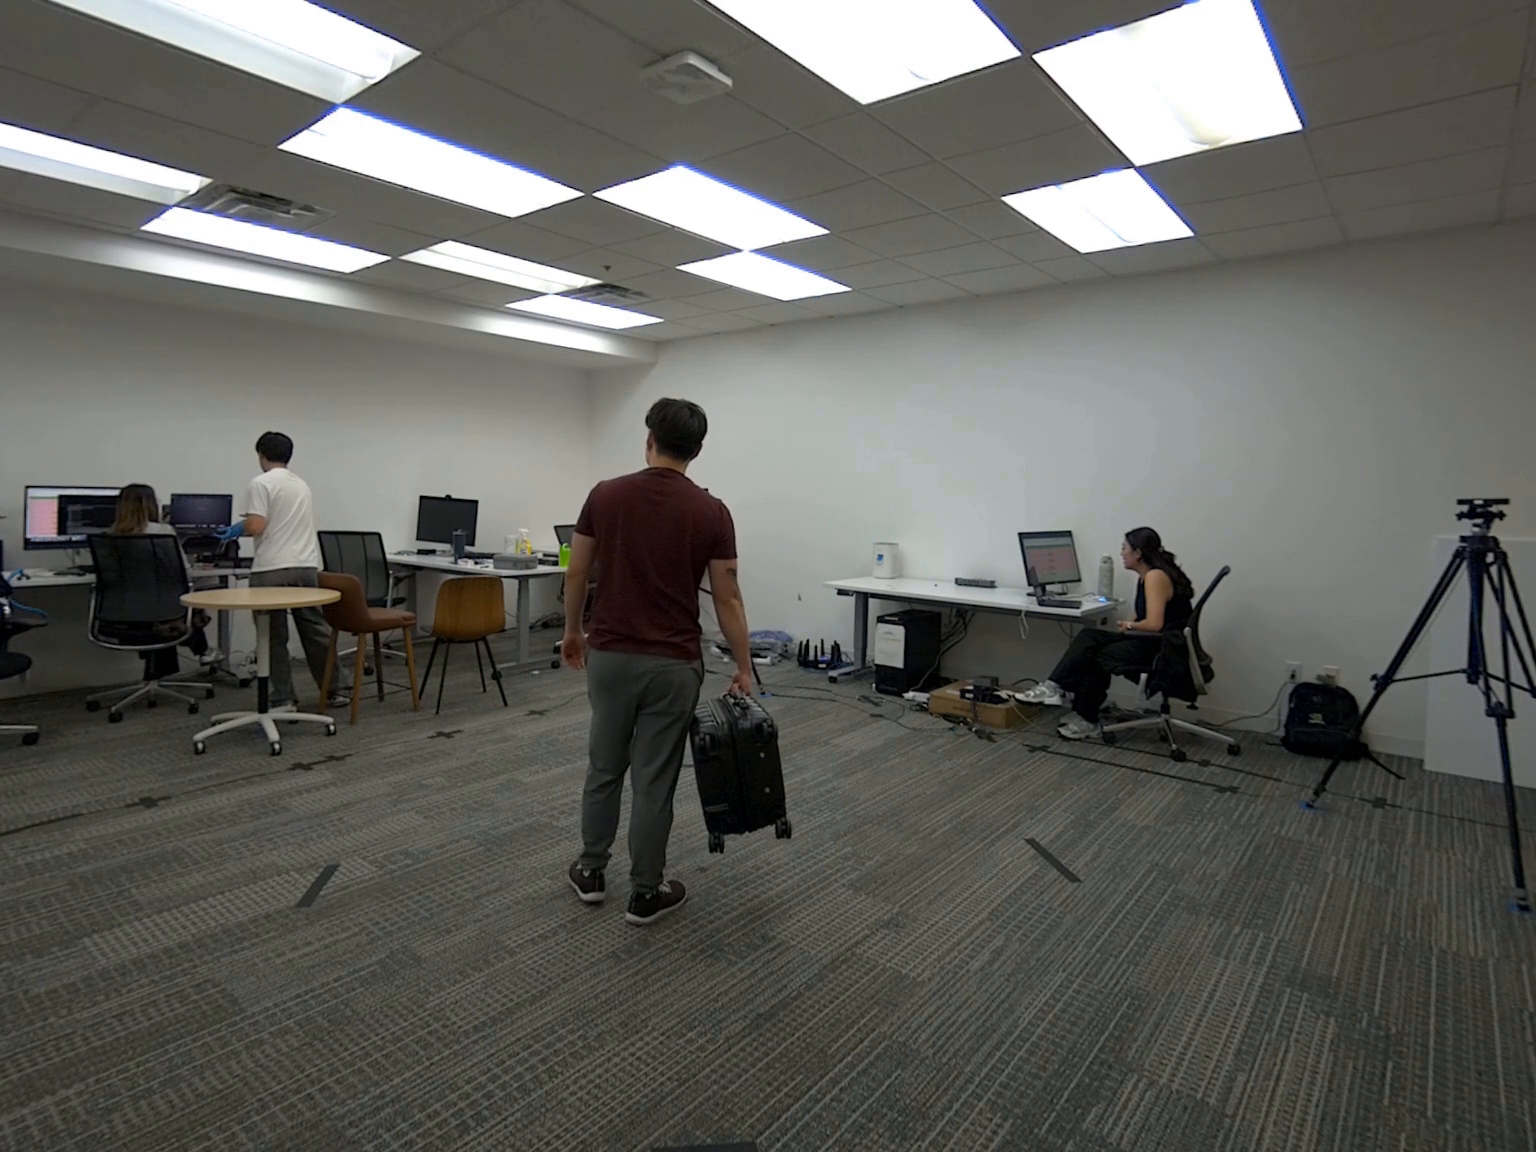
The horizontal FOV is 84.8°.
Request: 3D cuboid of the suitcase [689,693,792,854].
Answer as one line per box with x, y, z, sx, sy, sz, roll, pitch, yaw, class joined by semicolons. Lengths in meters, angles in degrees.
-0.149;0.590;2.981;0.255;0.383;0.988;-8;3;-9;suitcase
